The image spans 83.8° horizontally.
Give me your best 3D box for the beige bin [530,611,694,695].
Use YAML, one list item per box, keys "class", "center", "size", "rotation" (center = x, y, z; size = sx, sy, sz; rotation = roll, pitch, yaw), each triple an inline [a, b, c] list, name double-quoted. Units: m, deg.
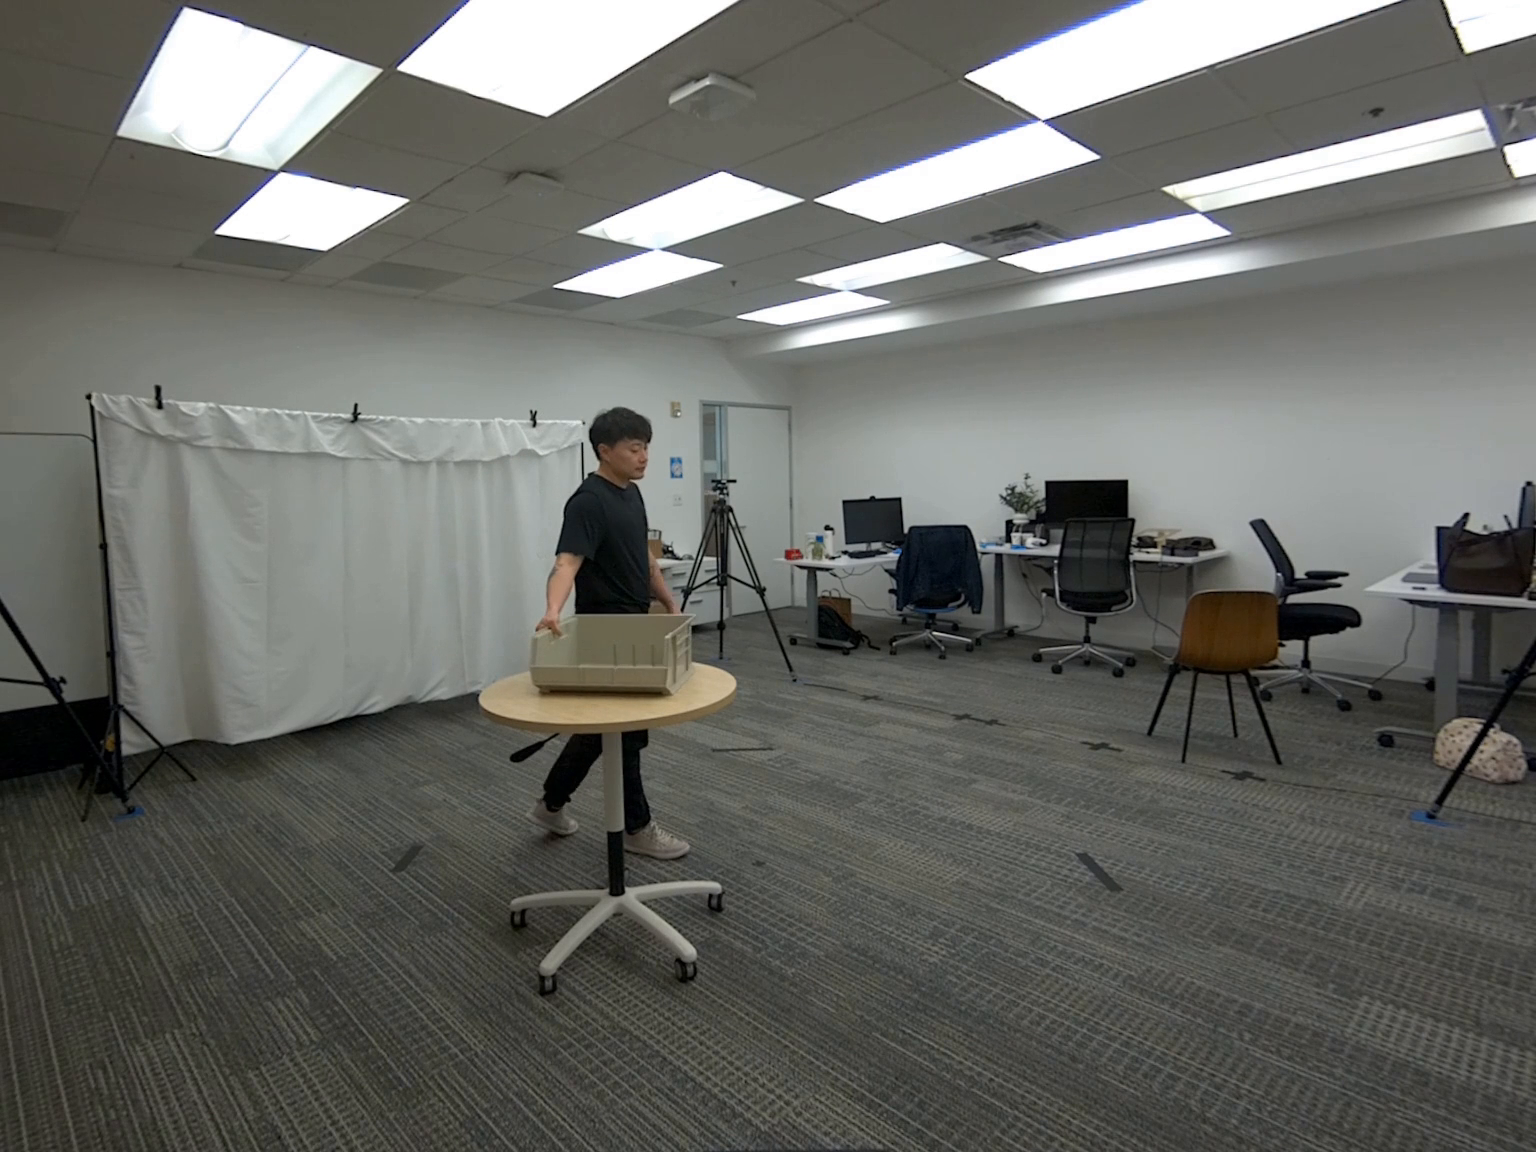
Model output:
- class: "beige bin"
  center: [-0.460, 0.241, 2.619]
  size: [0.426, 0.188, 0.375]
  rotation: [-1, 5, 9]
